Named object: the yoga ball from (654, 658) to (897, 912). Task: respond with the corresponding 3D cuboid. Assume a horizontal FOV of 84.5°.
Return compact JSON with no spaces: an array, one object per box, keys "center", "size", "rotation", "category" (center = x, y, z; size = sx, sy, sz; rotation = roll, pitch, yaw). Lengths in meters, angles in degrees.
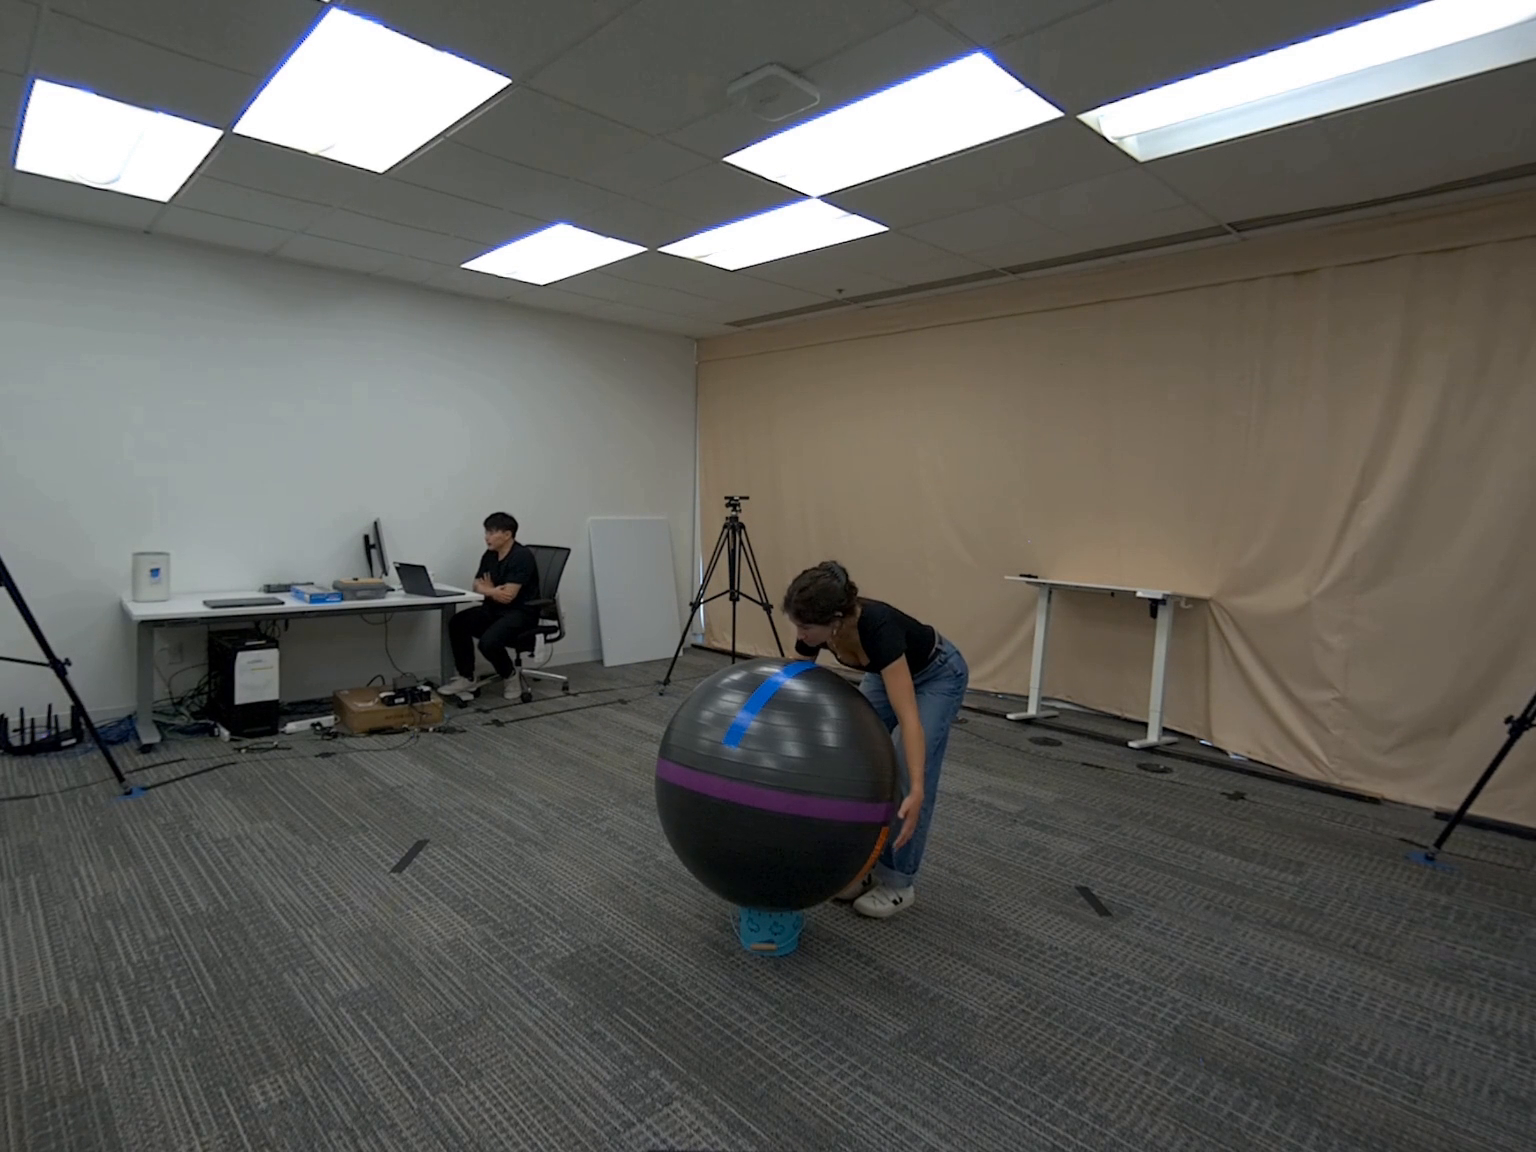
[{"center":[0.022,0.643,2.624],"size":[0.757,0.756,0.761],"rotation":[1,4,-1],"category":"yoga ball"}]
